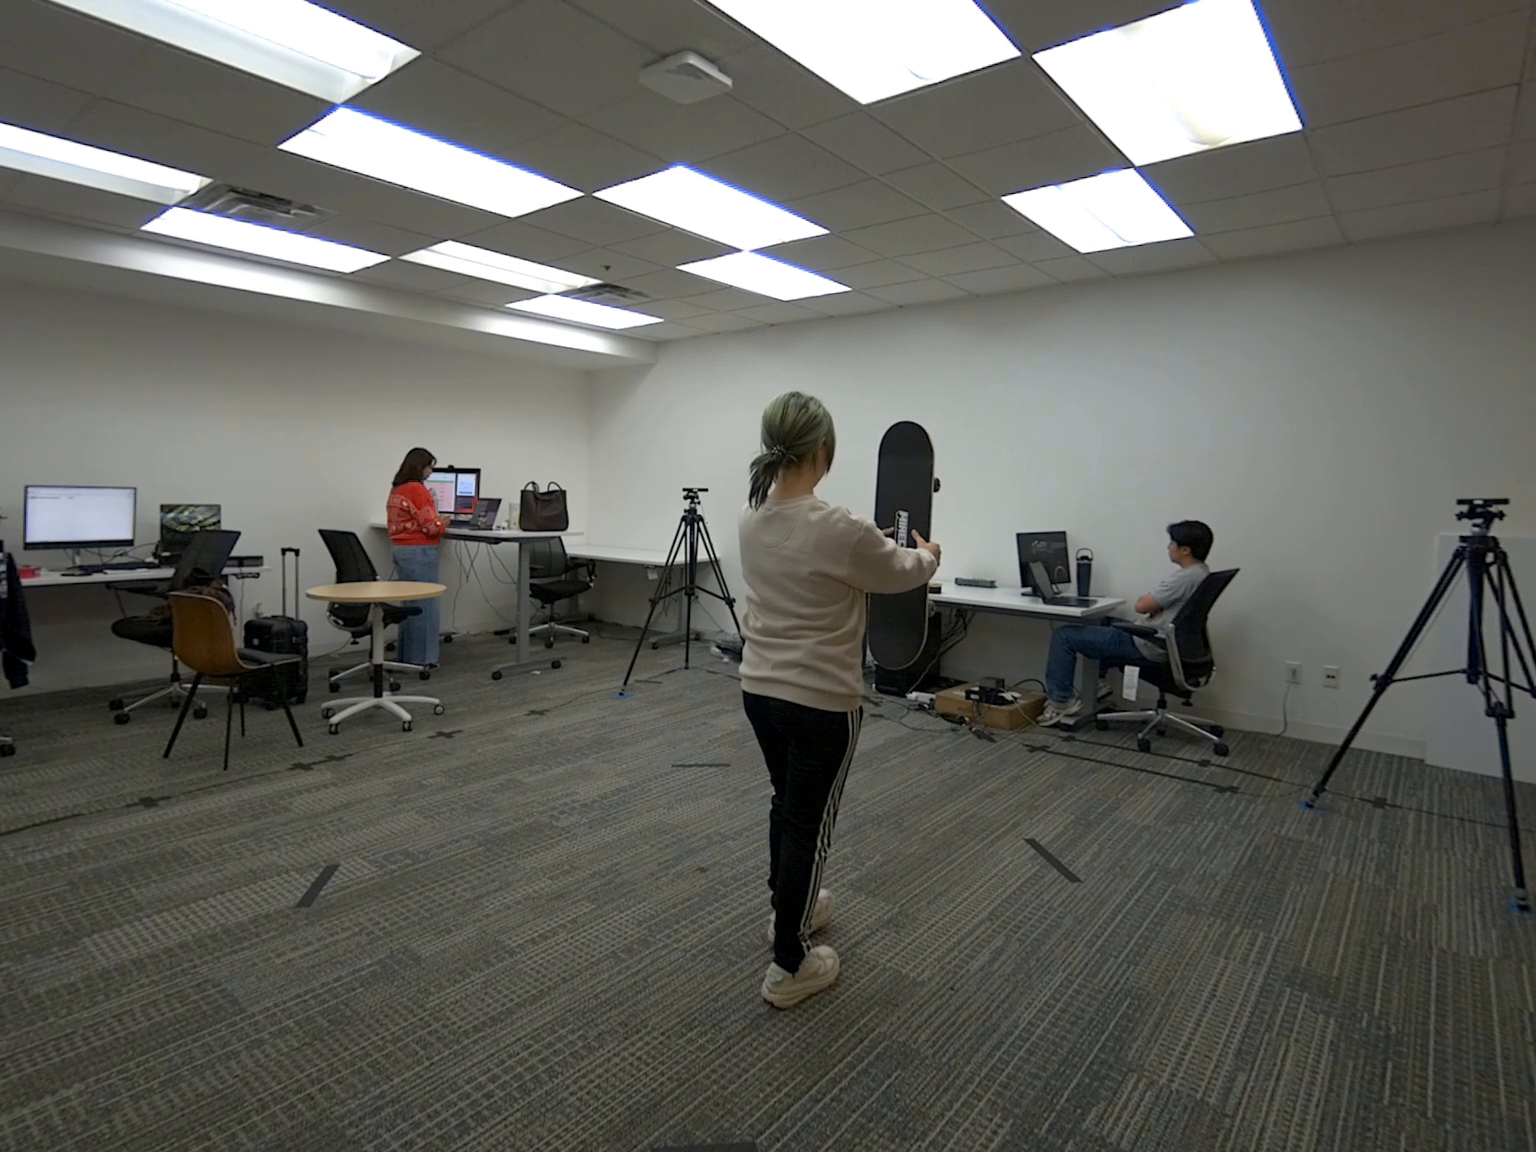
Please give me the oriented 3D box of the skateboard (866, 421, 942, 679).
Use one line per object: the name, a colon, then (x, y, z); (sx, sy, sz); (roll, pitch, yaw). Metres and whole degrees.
skateboard: (0.434, -0.101, 2.710); (0.199, 0.792, 0.106); (-1, -11, 33)
